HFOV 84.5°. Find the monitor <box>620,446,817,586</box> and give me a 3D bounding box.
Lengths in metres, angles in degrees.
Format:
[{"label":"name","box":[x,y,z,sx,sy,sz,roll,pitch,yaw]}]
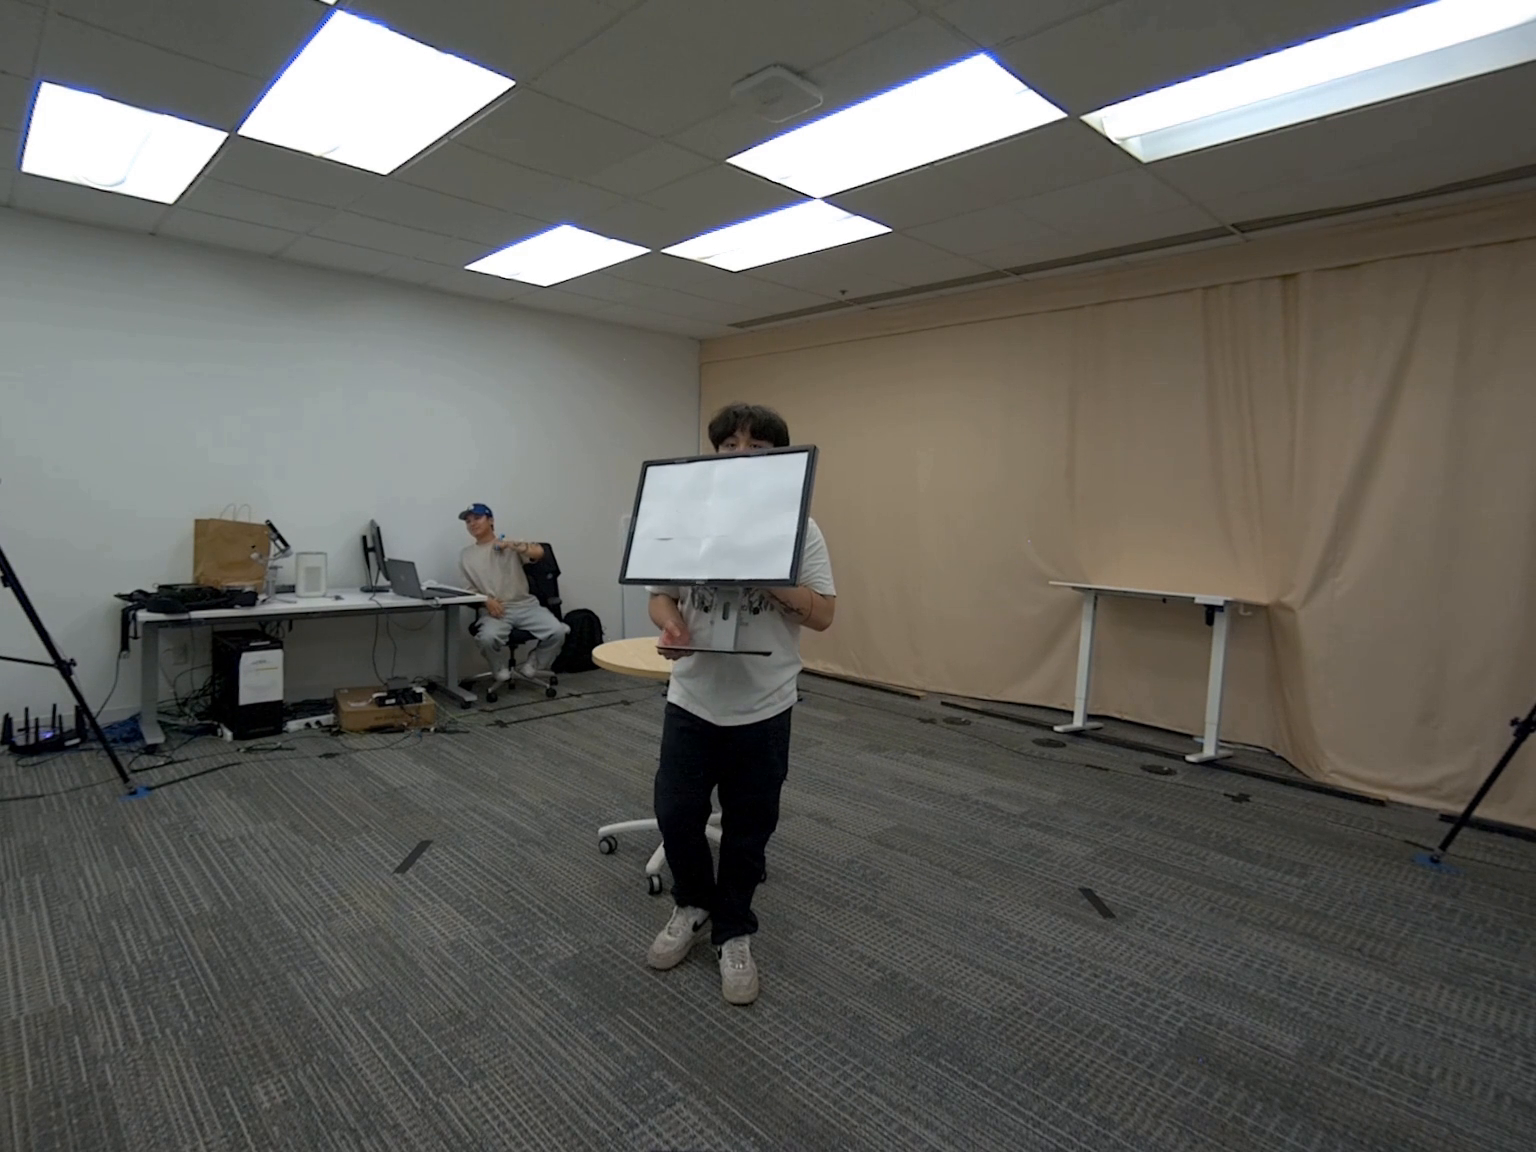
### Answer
[{"label":"monitor","box":[-0.123,-0.048,2.233,0.578,0.558,0.204,-2,-13,35]}]
